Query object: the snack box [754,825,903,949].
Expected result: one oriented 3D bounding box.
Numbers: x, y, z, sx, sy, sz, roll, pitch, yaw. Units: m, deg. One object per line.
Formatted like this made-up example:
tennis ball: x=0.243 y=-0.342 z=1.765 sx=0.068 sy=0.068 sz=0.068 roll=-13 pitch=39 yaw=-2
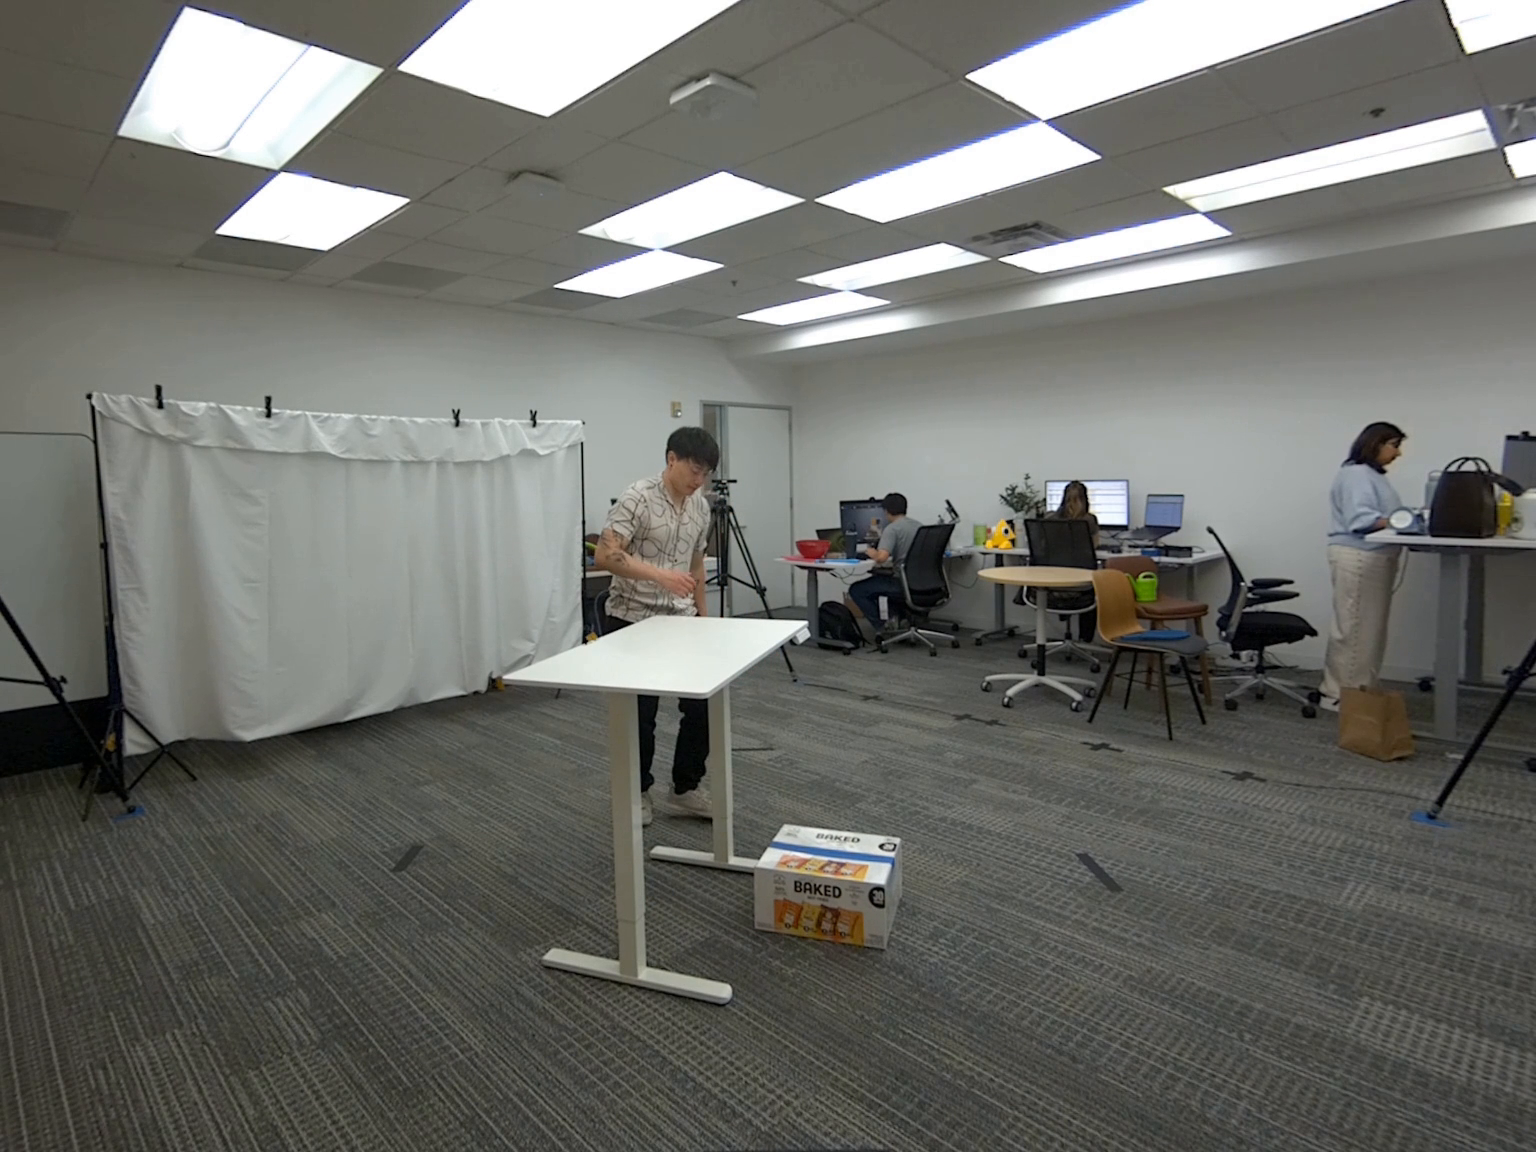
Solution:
snack box: x=0.205 y=0.984 z=2.734 sx=0.412 sy=0.205 sz=0.336 roll=1 pitch=6 yaw=18
